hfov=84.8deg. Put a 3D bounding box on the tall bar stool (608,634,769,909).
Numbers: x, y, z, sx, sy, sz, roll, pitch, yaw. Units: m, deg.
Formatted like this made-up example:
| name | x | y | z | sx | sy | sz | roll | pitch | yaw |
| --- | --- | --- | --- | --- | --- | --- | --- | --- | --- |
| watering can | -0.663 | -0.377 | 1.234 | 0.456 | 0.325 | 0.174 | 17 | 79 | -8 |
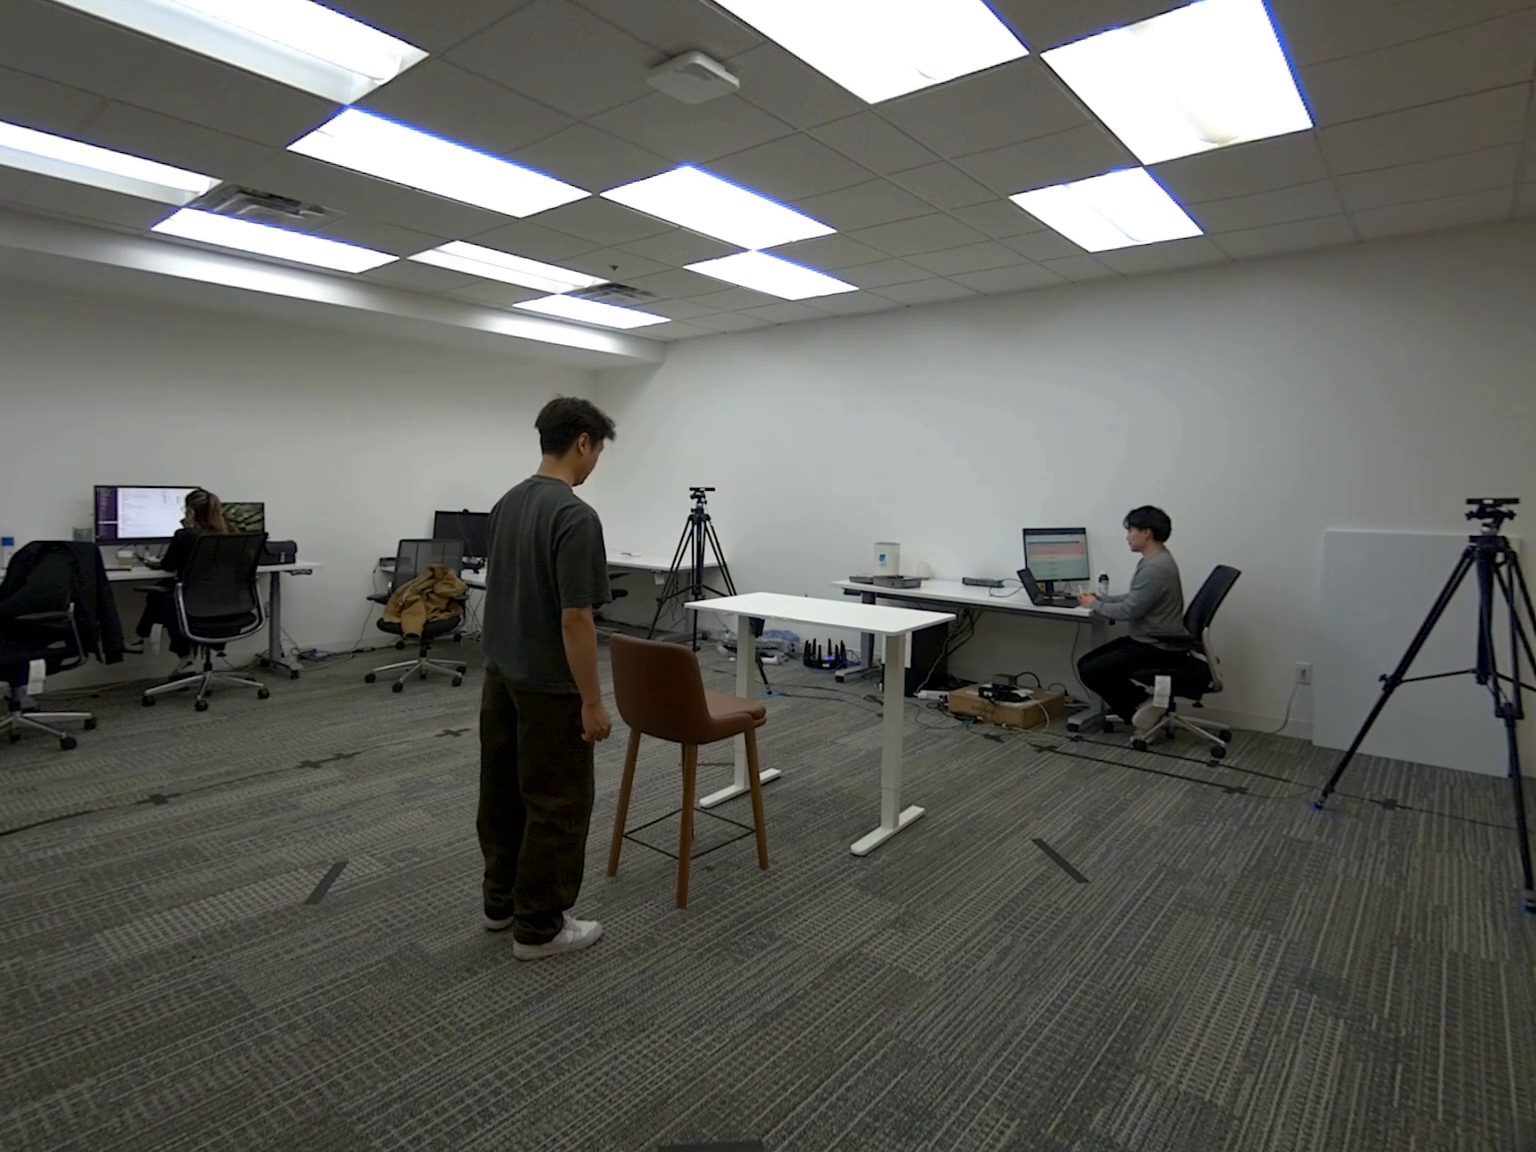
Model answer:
| name | x | y | z | sx | sy | sz | roll | pitch | yaw |
| --- | --- | --- | --- | --- | --- | --- | --- | --- | --- |
| tall bar stool | -0.302 | 0.632 | 3.062 | 0.472 | 0.886 | 0.454 | 3 | 5 | 40 |
